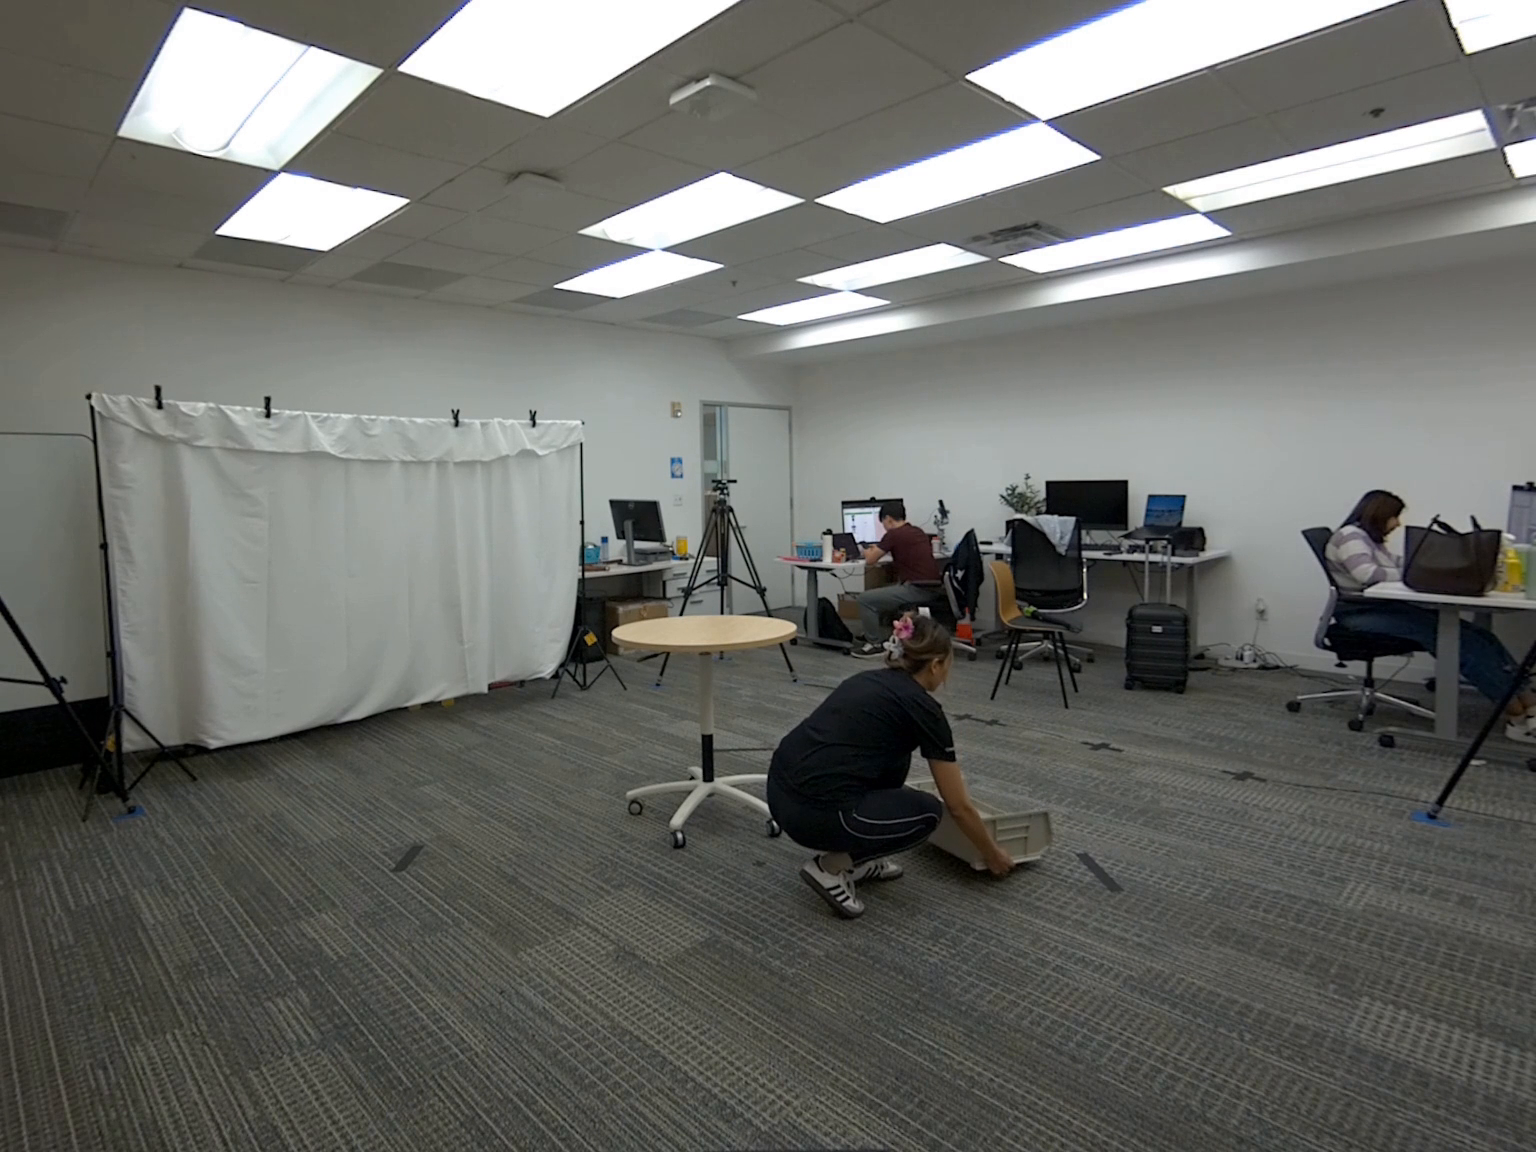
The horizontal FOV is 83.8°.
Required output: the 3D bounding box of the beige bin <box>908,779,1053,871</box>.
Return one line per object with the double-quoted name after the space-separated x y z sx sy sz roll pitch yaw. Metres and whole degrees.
0.760 0.890 3.143 0.367 0.188 0.434 2 4 -31 "beige bin"
